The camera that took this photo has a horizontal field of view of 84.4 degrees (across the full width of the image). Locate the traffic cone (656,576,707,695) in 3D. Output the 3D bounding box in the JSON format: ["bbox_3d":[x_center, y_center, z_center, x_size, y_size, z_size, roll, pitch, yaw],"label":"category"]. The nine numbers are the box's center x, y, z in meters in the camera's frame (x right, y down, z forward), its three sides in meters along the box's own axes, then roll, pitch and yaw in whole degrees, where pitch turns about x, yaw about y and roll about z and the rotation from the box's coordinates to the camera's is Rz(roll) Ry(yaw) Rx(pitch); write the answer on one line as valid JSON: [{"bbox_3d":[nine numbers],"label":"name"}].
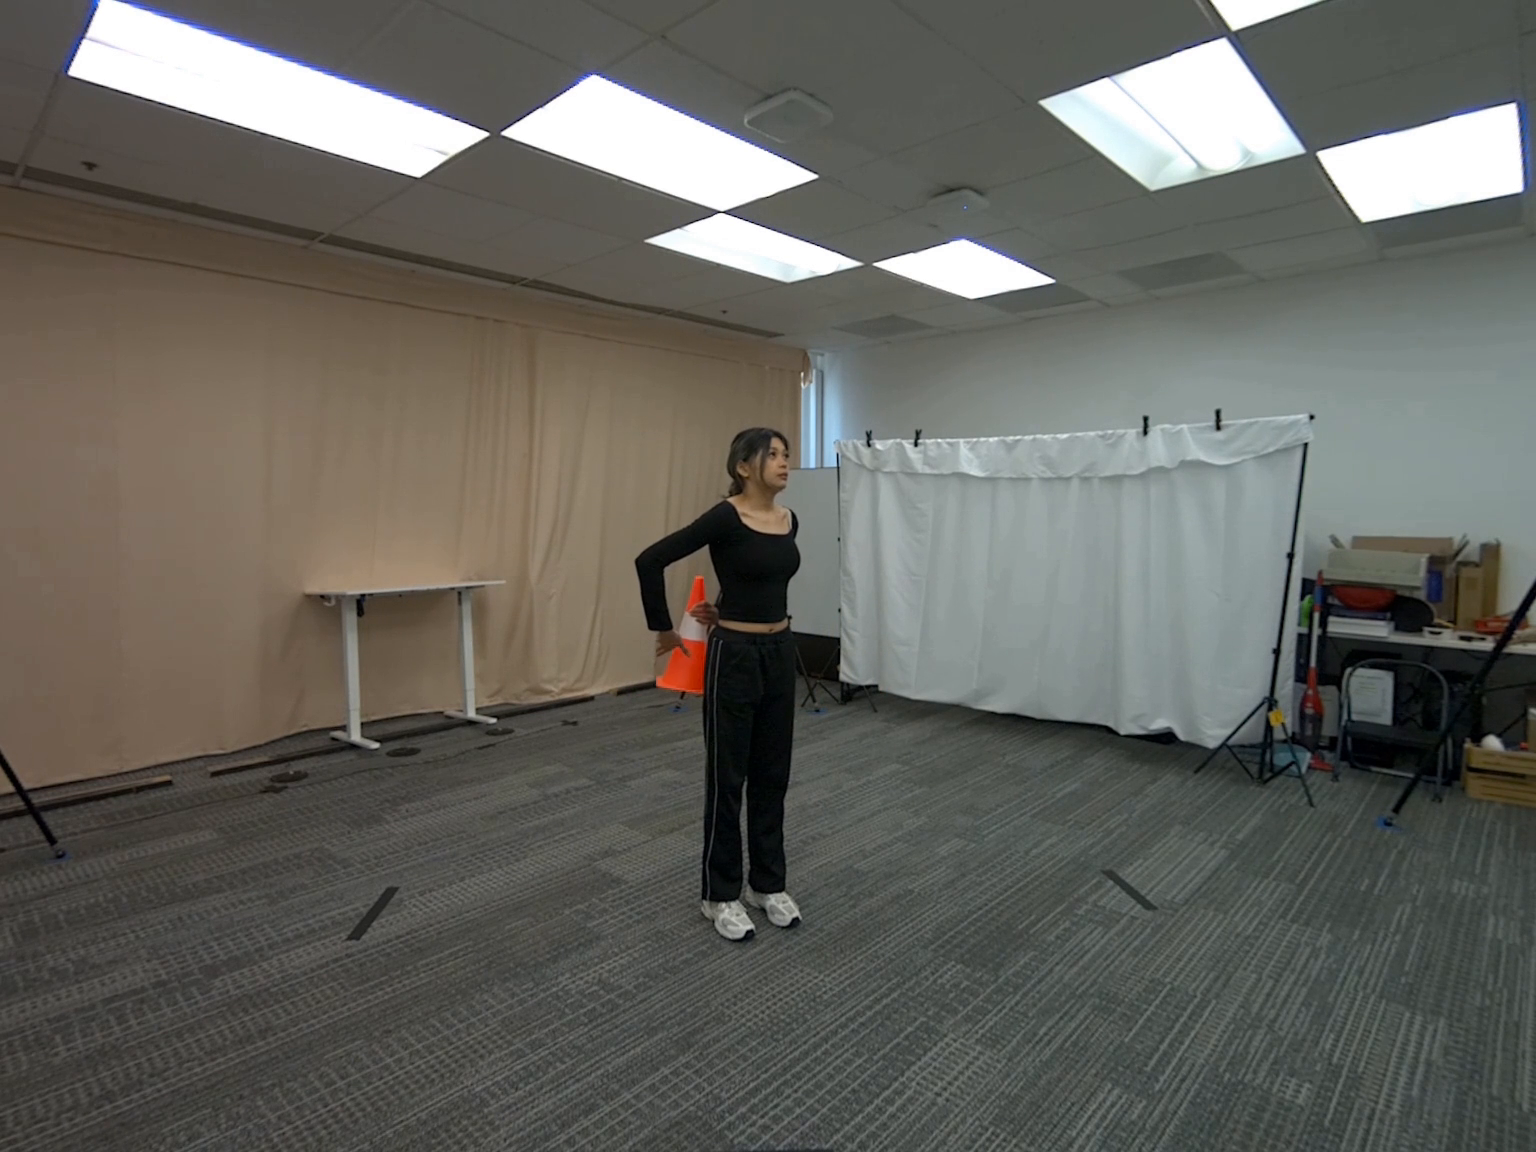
[{"bbox_3d":[-0.265,0.195,2.933,0.204,0.383,0.204,5,0,-4],"label":"traffic cone"}]
